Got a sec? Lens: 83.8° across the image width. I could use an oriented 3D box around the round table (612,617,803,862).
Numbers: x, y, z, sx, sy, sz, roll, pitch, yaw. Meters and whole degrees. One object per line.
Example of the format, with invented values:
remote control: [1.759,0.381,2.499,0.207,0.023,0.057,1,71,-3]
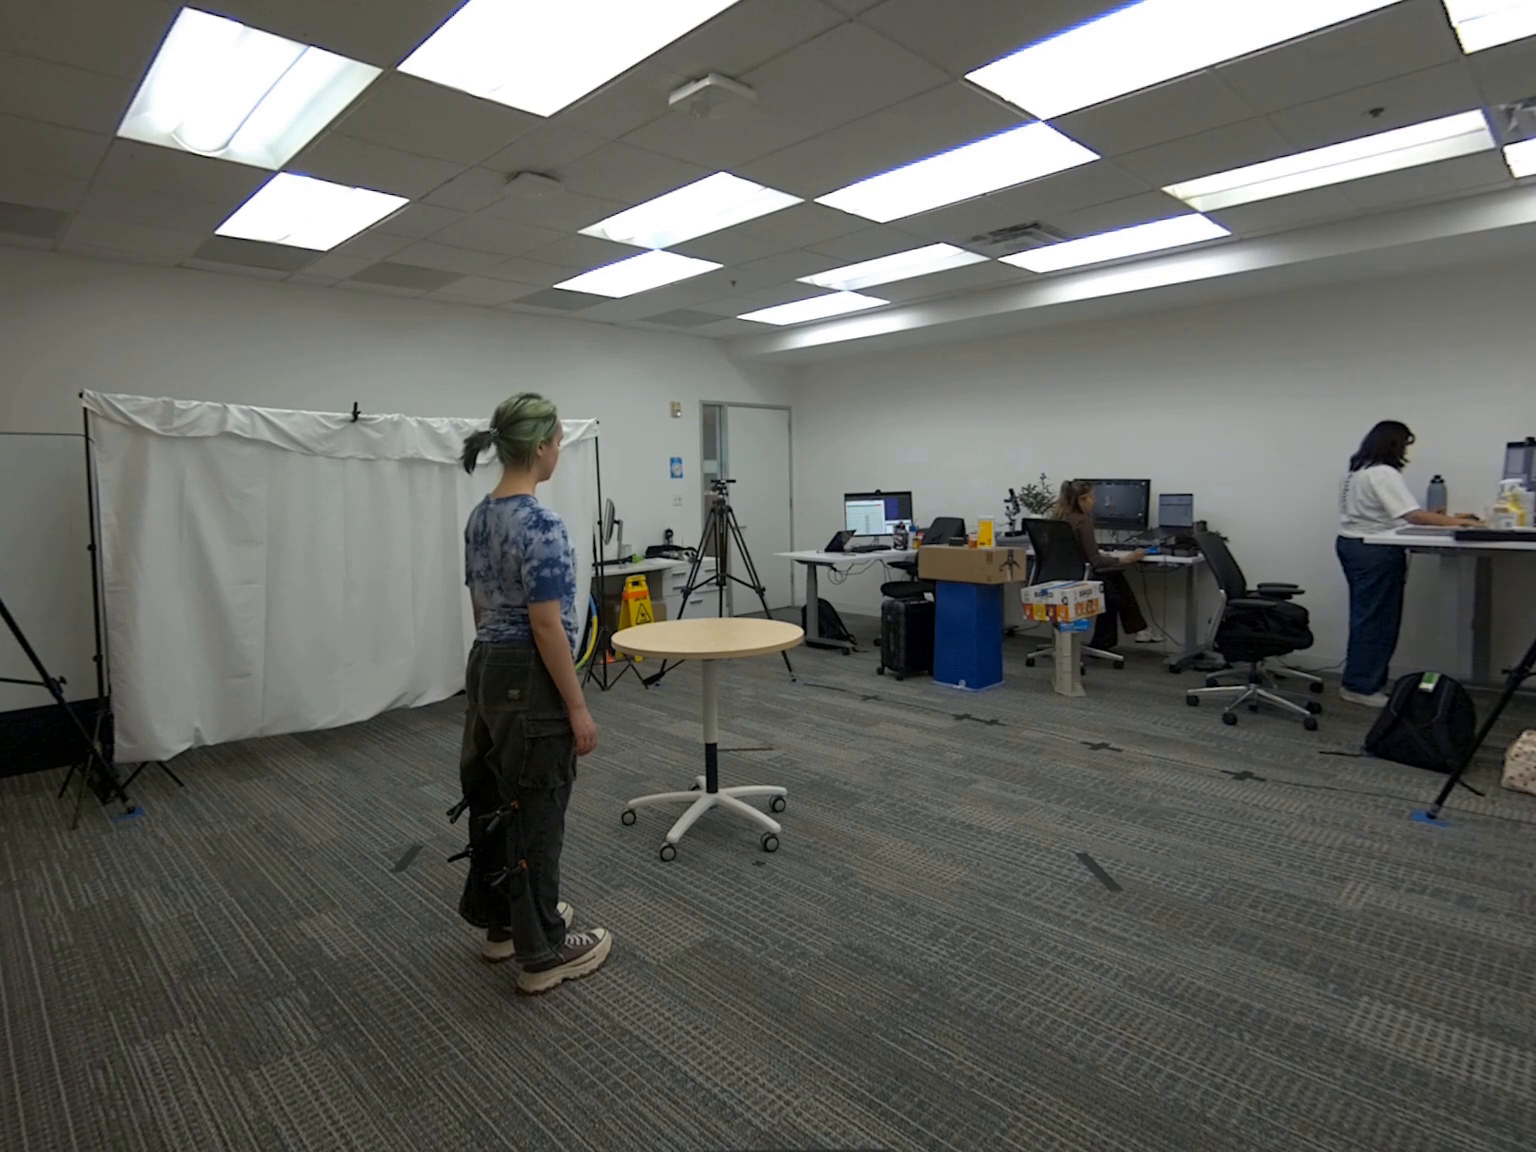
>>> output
round table: [-0.229,0.624,3.431,0.763,0.791,0.768,-2,5,-2]
